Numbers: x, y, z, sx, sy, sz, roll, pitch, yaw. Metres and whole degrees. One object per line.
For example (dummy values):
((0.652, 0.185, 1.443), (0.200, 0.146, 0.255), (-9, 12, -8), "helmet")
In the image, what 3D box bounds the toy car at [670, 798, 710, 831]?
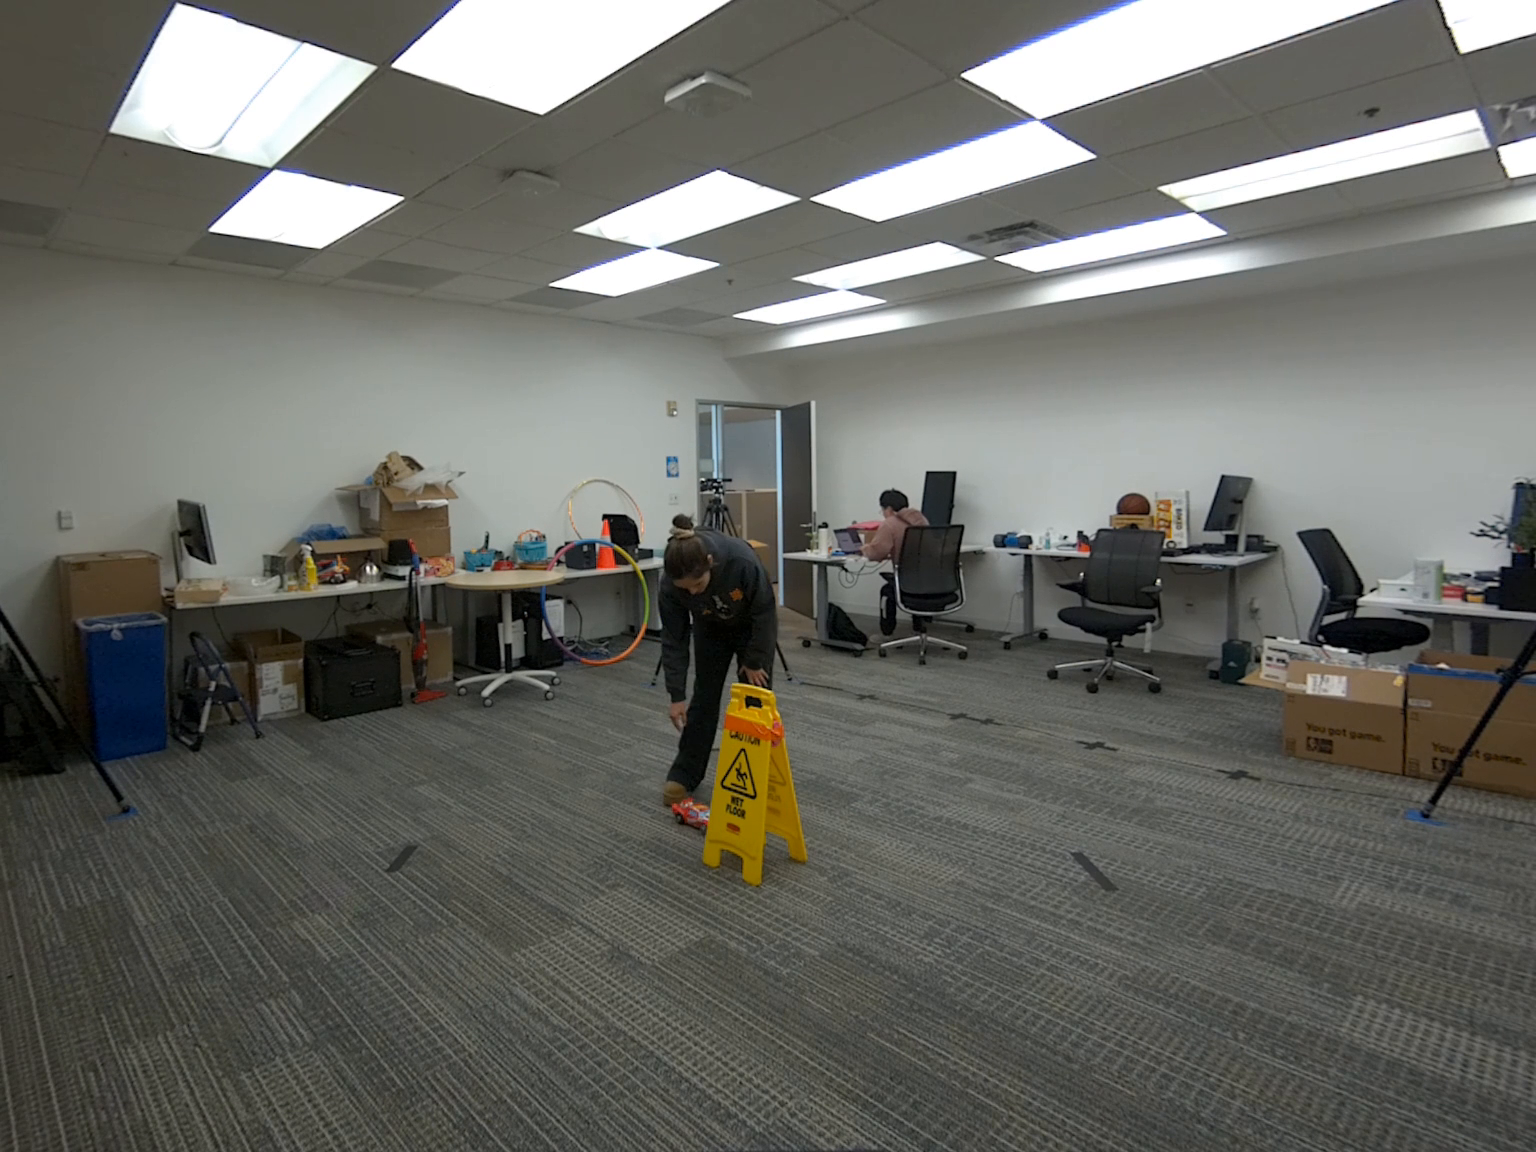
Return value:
((-0.286, 0.980, 3.455), (0.127, 0.082, 0.264), (-6, 18, -44), "toy car")
